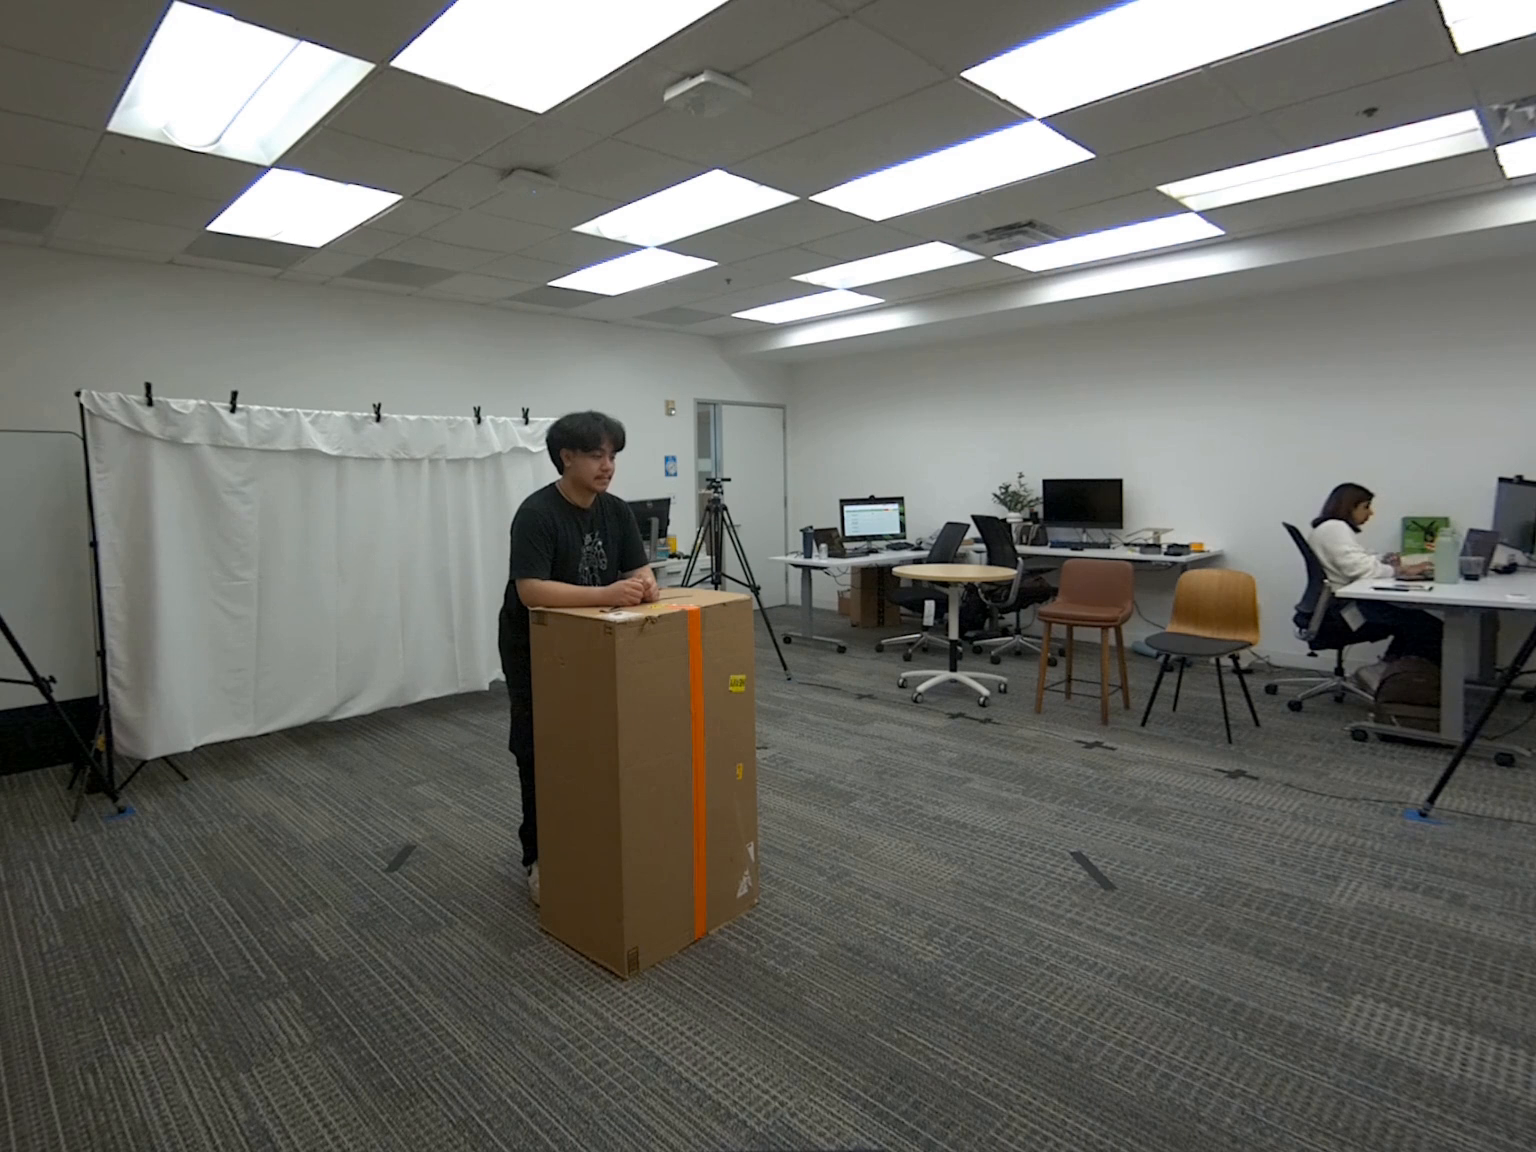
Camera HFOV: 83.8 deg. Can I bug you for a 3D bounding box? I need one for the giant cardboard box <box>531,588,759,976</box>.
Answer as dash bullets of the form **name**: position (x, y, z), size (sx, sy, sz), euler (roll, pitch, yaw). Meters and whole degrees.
- **giant cardboard box**: position (-0.376, 0.585, 2.705), size (0.461, 1.022, 0.569), euler (4, 7, 43)
